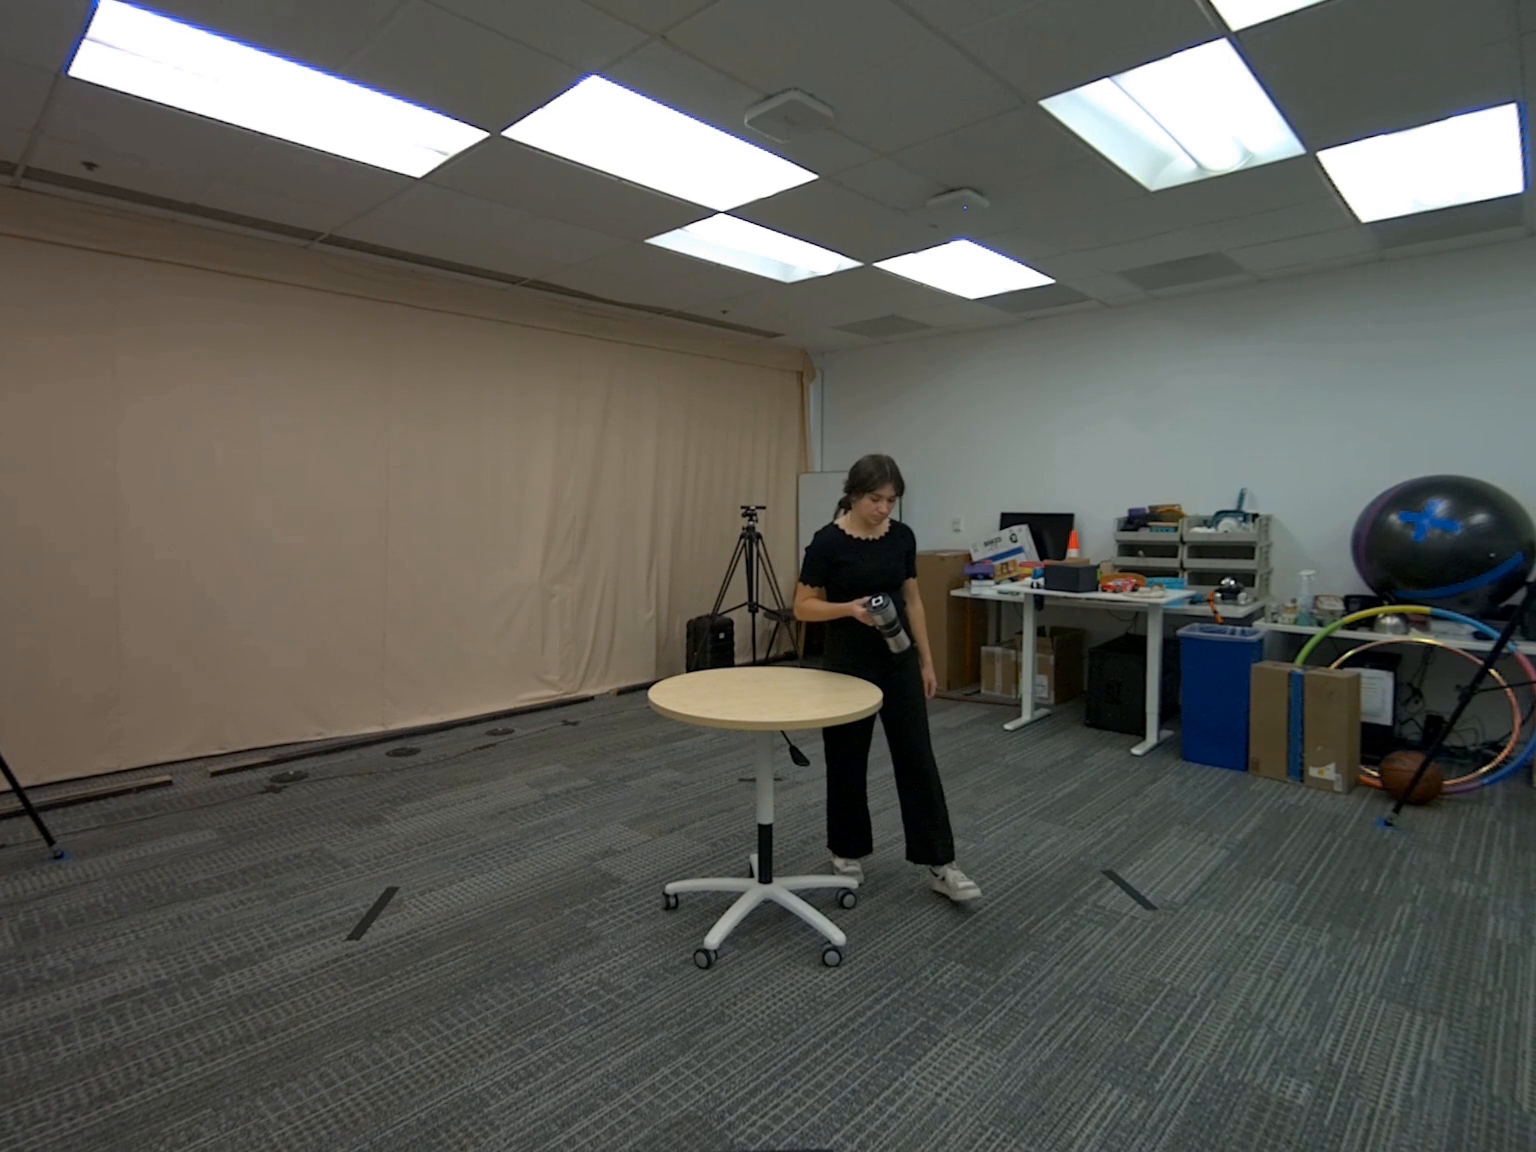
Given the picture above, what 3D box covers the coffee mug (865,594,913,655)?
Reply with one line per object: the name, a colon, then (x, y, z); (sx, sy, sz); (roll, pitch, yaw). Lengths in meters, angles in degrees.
coffee mug: (0.400, 0.160, 2.843); (0.087, 0.198, 0.126); (-40, 27, -23)
